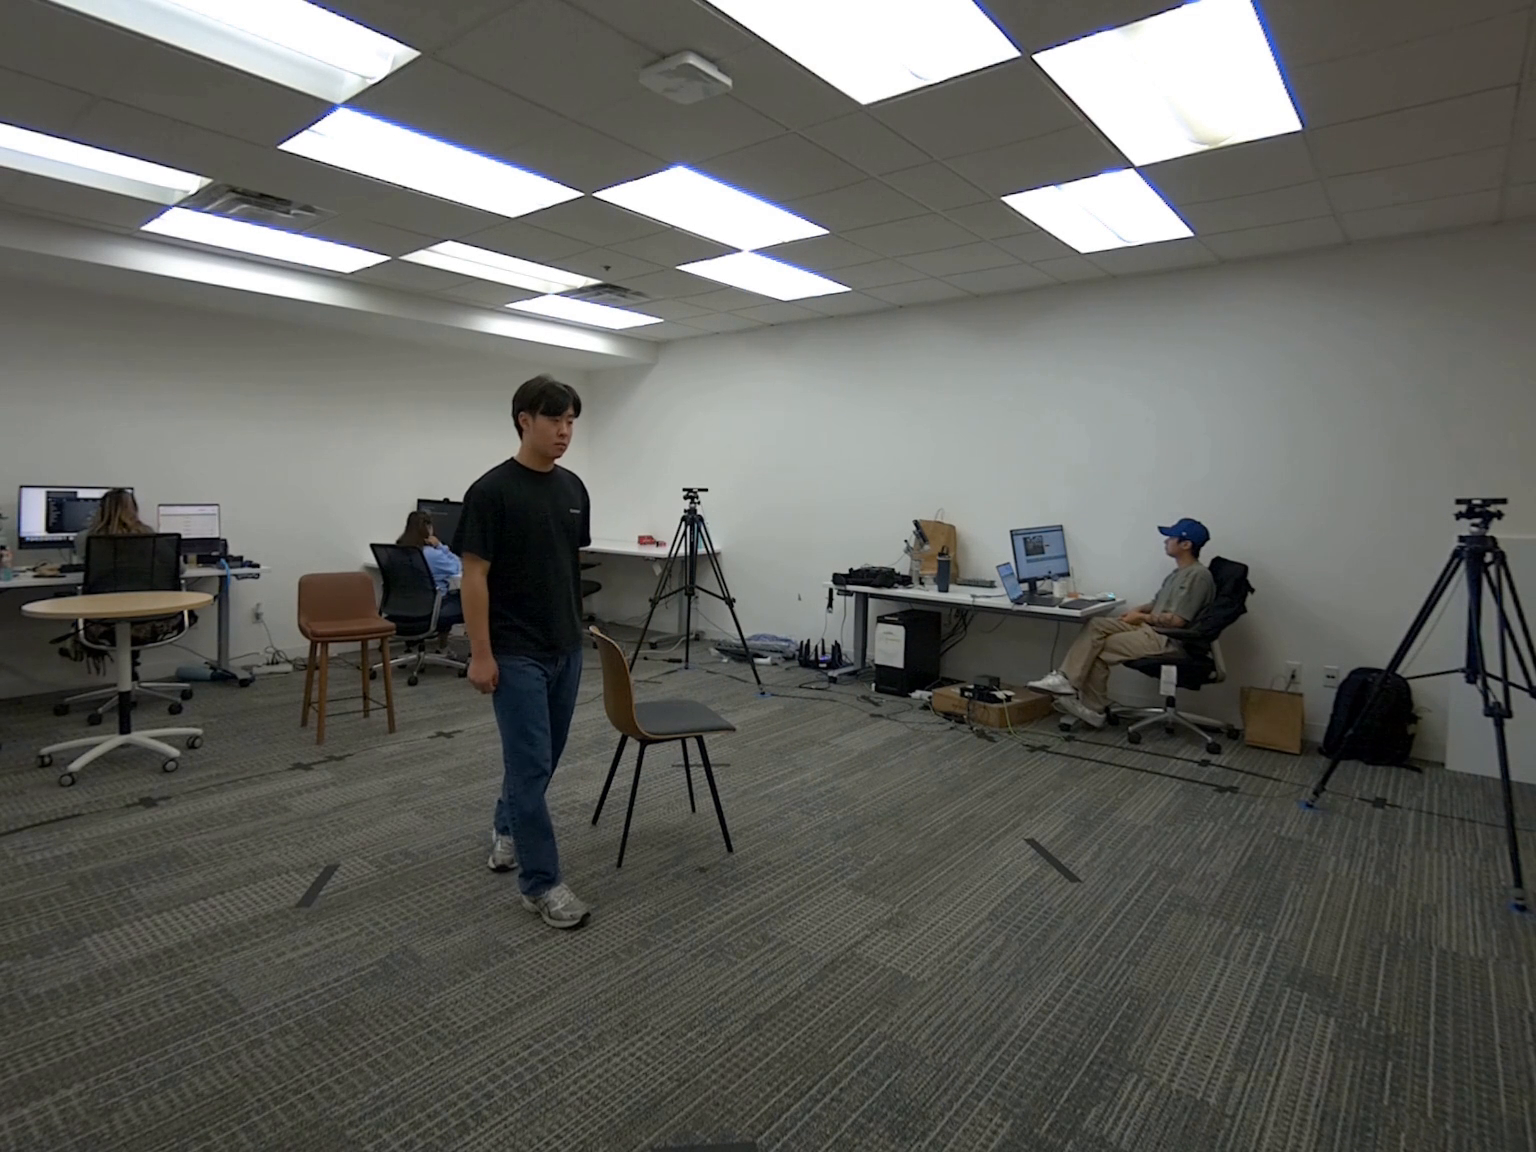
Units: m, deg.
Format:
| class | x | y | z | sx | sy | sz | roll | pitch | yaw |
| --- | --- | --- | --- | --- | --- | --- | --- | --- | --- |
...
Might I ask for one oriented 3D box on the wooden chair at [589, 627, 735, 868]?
| class | x | y | z | sx | sy | sz | roll | pitch | yaw |
| --- | --- | --- | --- | --- | --- | --- | --- | --- | --- |
| wooden chair | -0.427 | 0.614 | 3.362 | 0.513 | 0.874 | 0.490 | -5 | 5 | -22 |
